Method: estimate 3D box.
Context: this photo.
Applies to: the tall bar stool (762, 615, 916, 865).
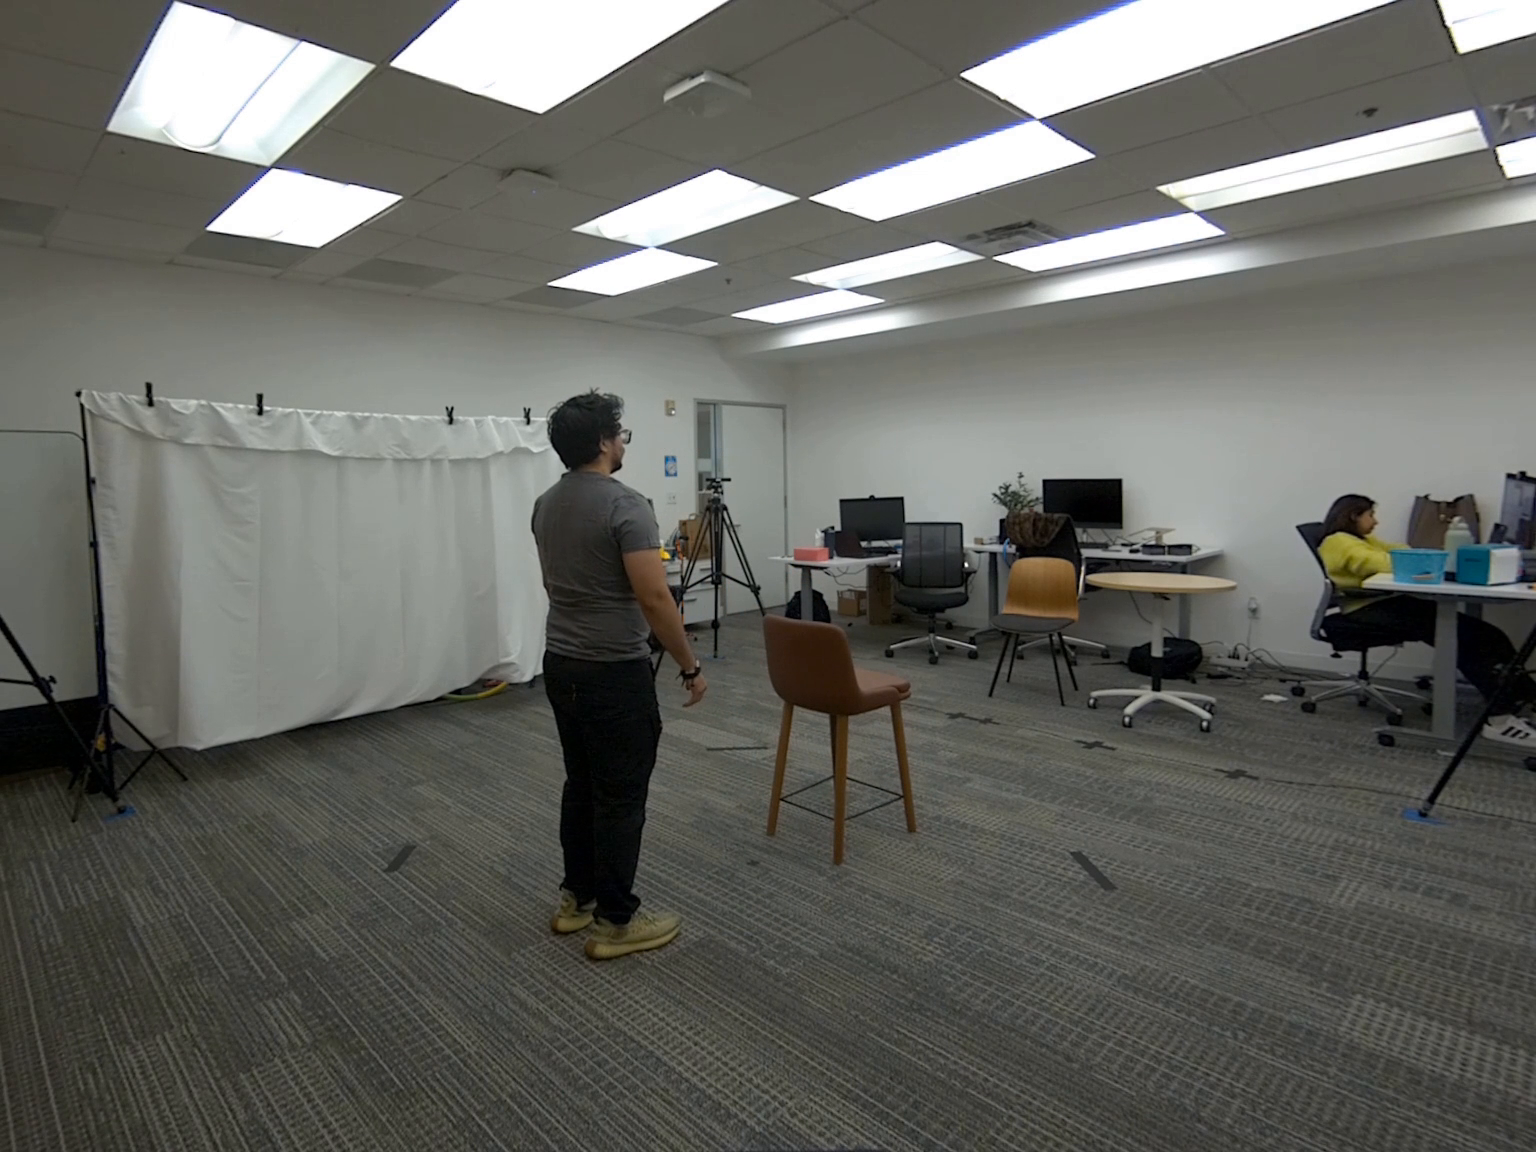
[{"bbox_3d":[0.275,0.577,3.331,0.456,0.885,0.471,-7,7,-42],"label":"tall bar stool"}]
